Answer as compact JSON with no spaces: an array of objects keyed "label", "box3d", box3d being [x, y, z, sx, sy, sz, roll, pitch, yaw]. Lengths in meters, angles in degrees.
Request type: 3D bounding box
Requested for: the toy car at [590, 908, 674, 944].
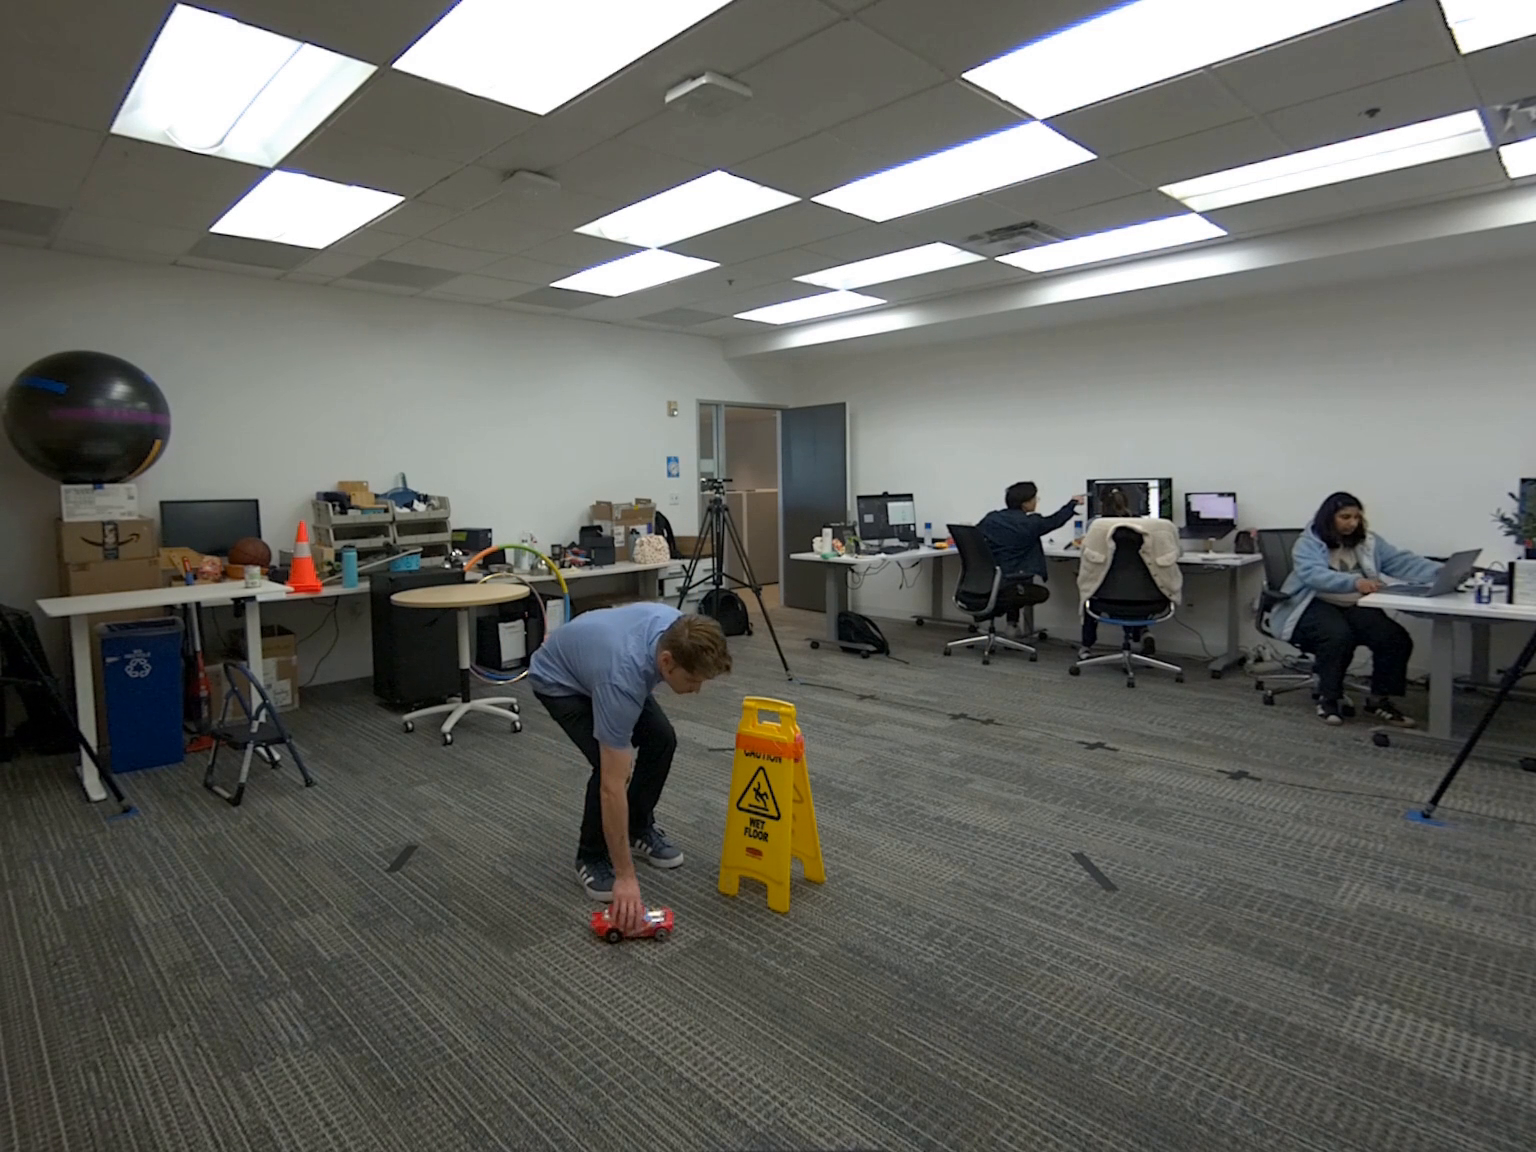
[{"label":"toy car","box3d":[-0.426,1.072,2.646,0.254,0.083,0.131,9,7,-1]}]
